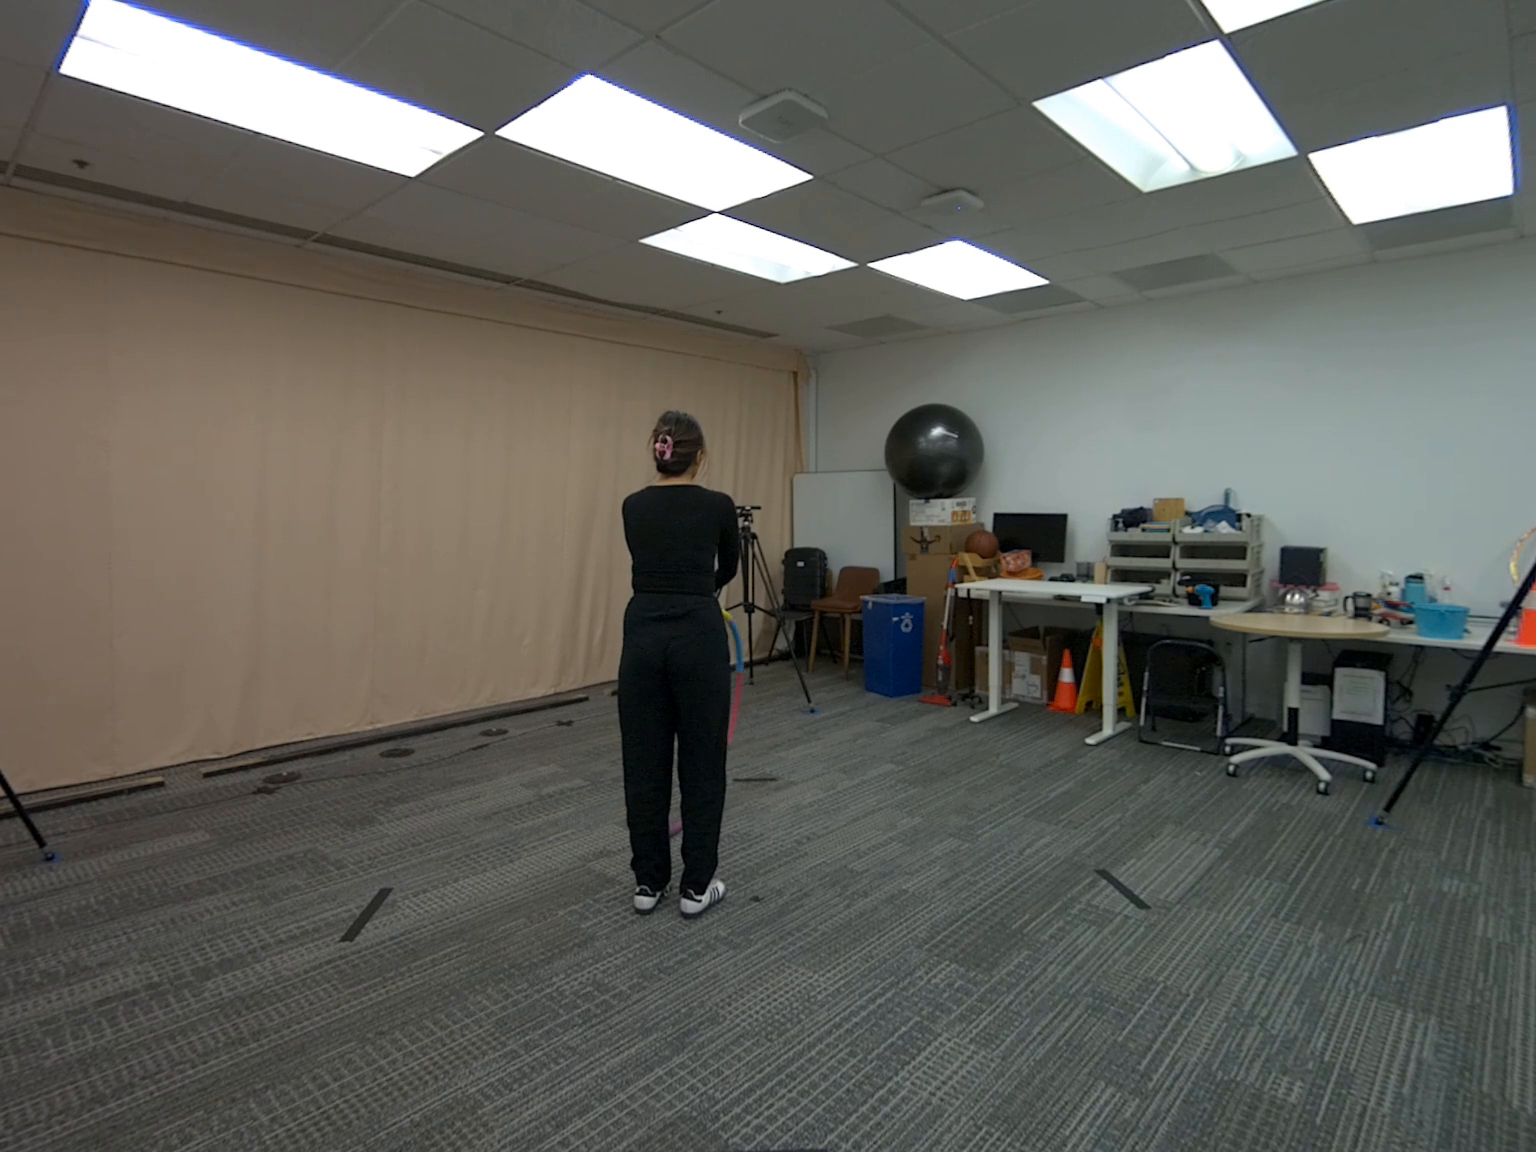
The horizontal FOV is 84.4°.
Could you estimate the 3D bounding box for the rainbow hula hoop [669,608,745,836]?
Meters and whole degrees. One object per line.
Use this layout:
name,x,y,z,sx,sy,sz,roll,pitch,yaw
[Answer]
rainbow hula hoop,-0.322,0.615,3.578,0.036,0.975,0.959,10,7,19
